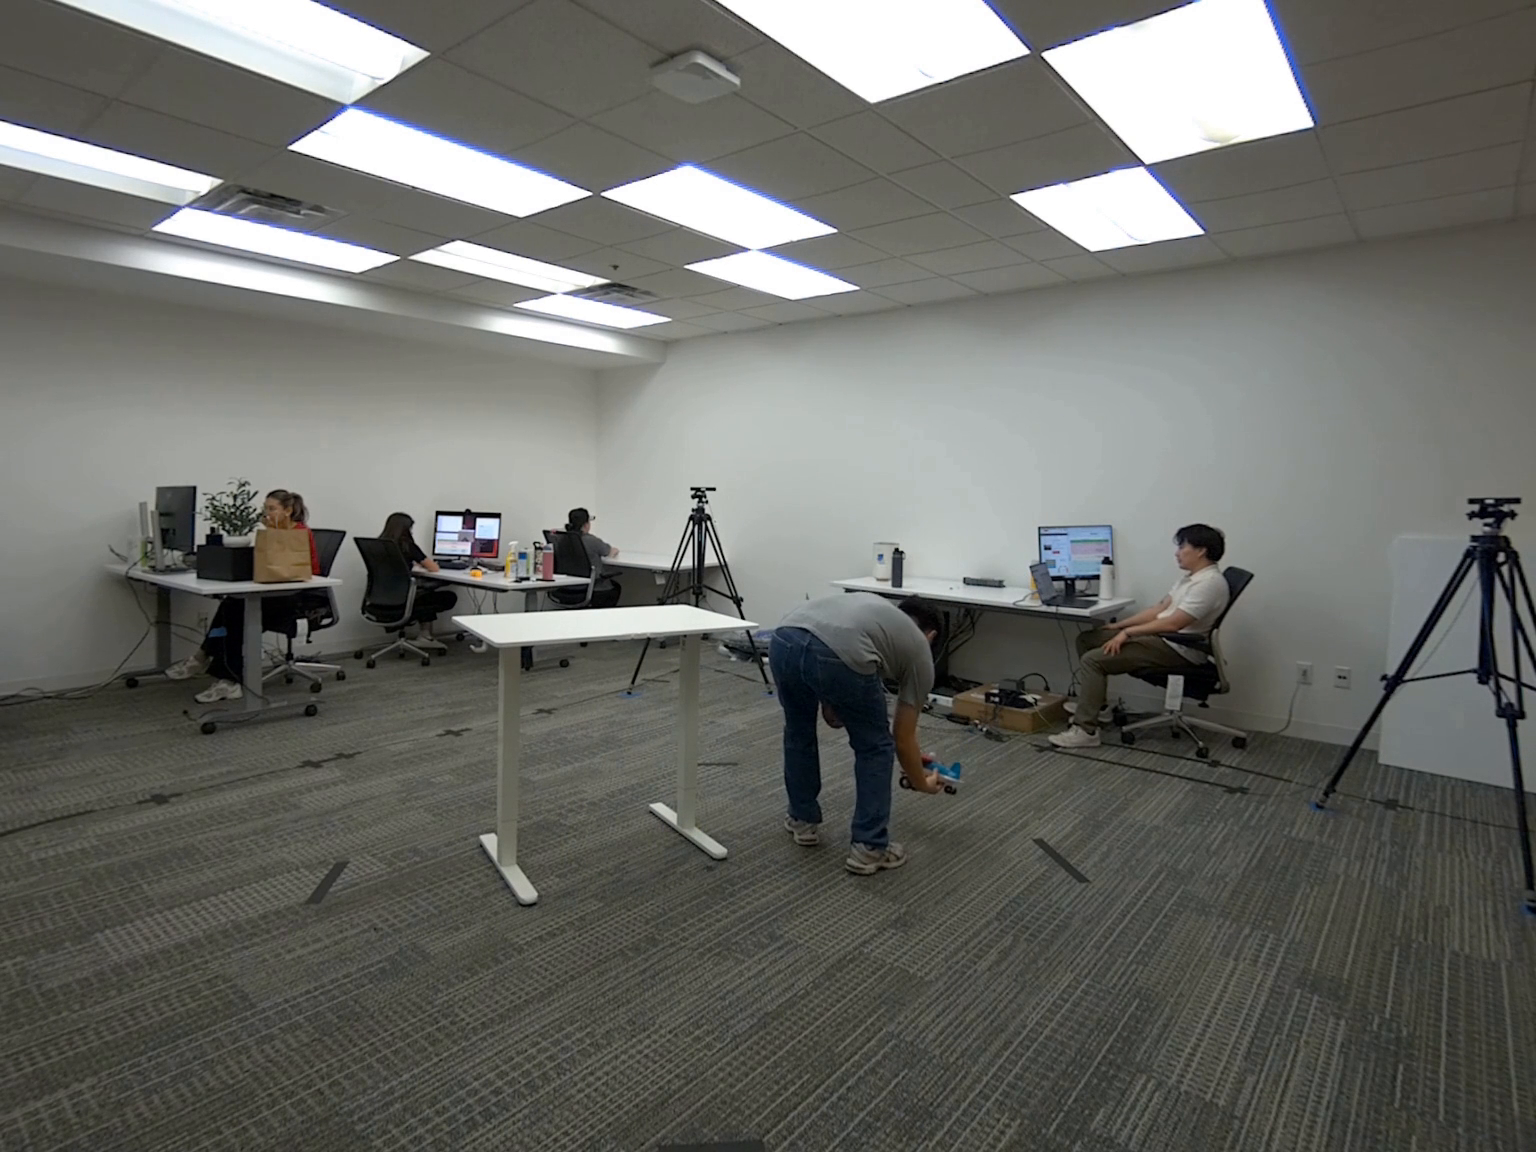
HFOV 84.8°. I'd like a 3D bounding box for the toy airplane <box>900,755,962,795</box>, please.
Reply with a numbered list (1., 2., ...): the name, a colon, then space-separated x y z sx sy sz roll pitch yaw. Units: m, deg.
1. toy airplane: 0.664 0.806 3.508 0.262 0.159 0.245 3 -17 9
